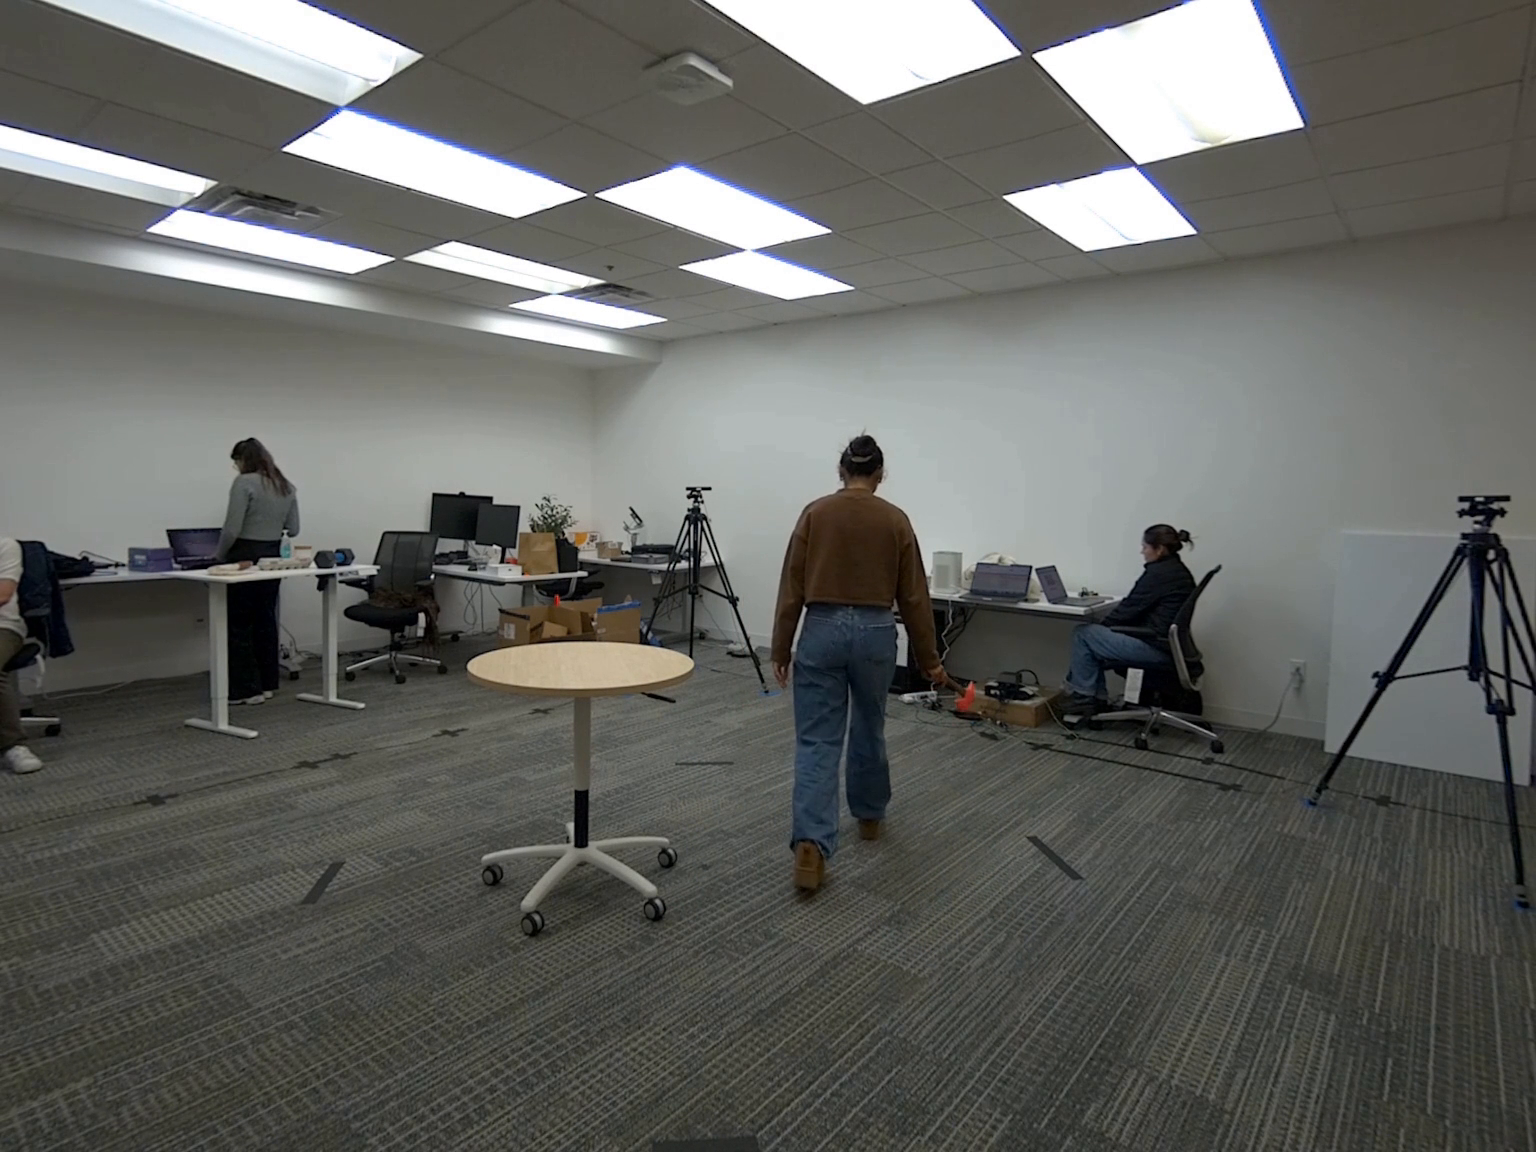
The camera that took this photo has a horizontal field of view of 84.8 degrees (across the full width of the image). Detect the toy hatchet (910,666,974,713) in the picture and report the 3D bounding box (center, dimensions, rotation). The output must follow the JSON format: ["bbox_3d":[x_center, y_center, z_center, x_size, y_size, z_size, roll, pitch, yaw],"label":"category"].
[{"bbox_3d":[0.674,0.438,3.252,0.262,0.132,0.030,14,-14,-24],"label":"toy hatchet"}]
